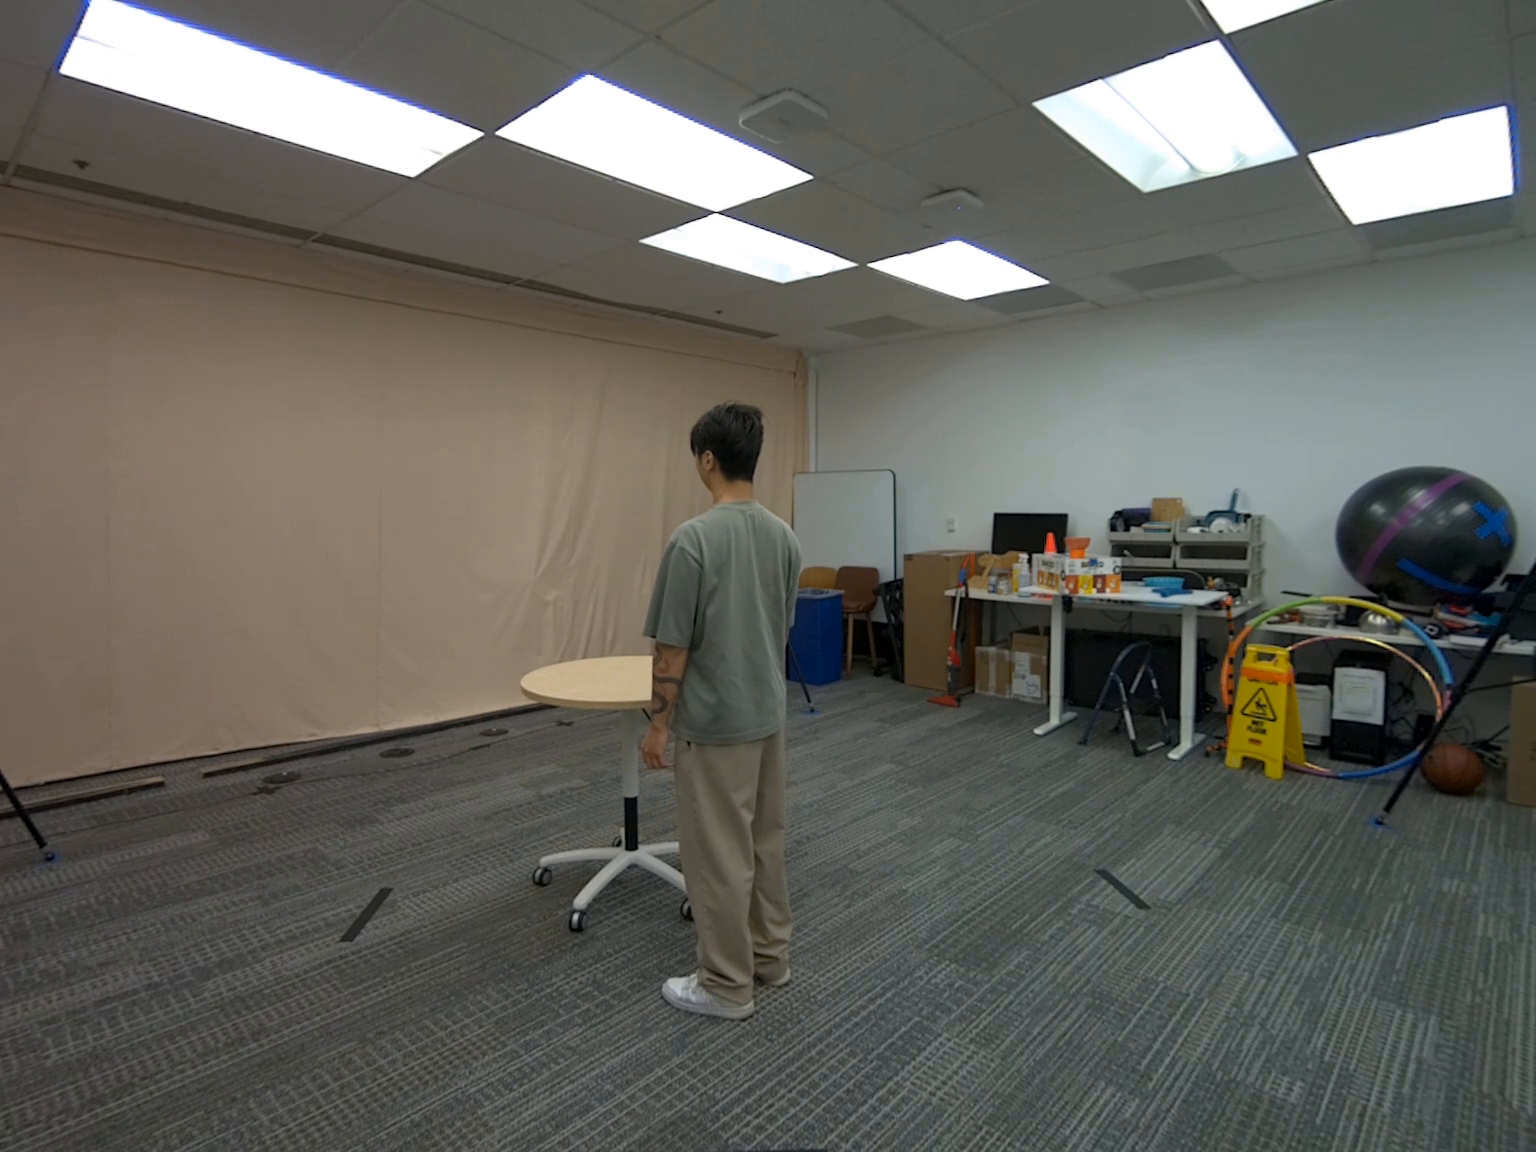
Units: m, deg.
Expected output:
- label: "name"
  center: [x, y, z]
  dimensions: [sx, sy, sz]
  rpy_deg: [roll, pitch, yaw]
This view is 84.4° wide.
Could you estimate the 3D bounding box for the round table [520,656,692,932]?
- label: "round table"
  center: [-0.501, 0.749, 3.077]
  dimensions: [0.784, 0.784, 0.788]
  rpy_deg: [-1, 4, -2]
